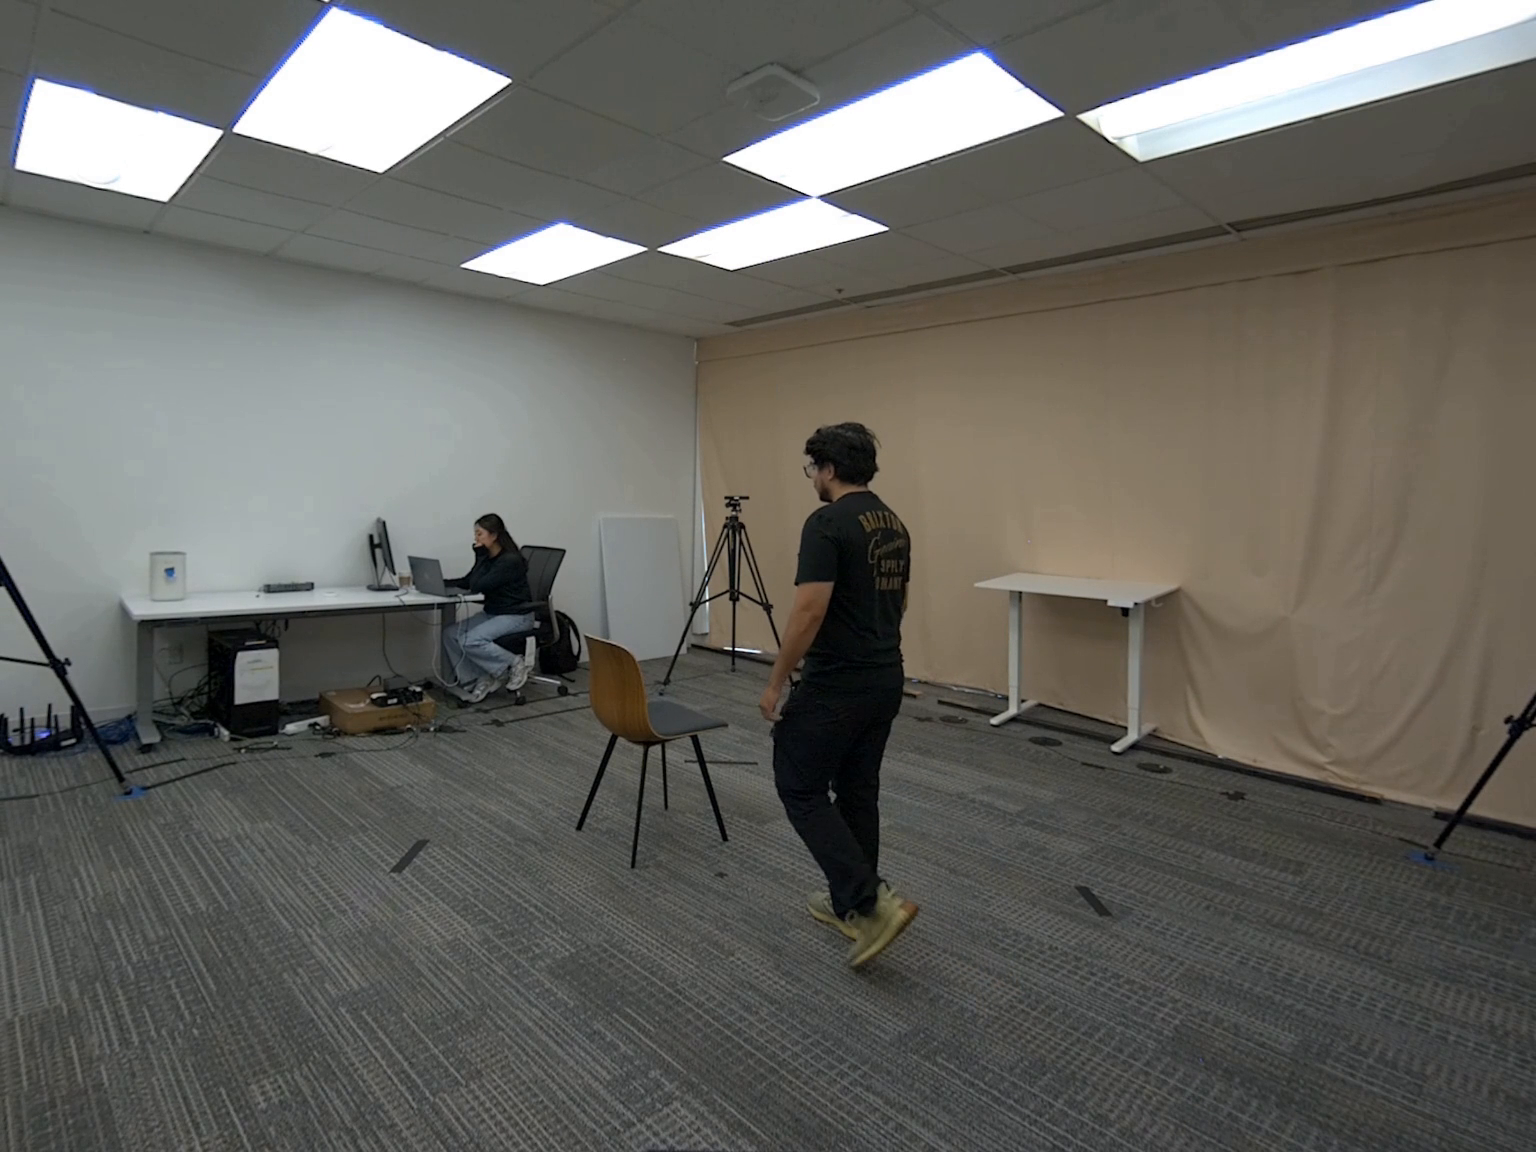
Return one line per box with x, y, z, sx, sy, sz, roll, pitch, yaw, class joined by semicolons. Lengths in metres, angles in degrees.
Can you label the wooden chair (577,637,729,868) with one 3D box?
-0.464;0.639;3.424;0.512;0.873;0.490;-7;8;-38;wooden chair
